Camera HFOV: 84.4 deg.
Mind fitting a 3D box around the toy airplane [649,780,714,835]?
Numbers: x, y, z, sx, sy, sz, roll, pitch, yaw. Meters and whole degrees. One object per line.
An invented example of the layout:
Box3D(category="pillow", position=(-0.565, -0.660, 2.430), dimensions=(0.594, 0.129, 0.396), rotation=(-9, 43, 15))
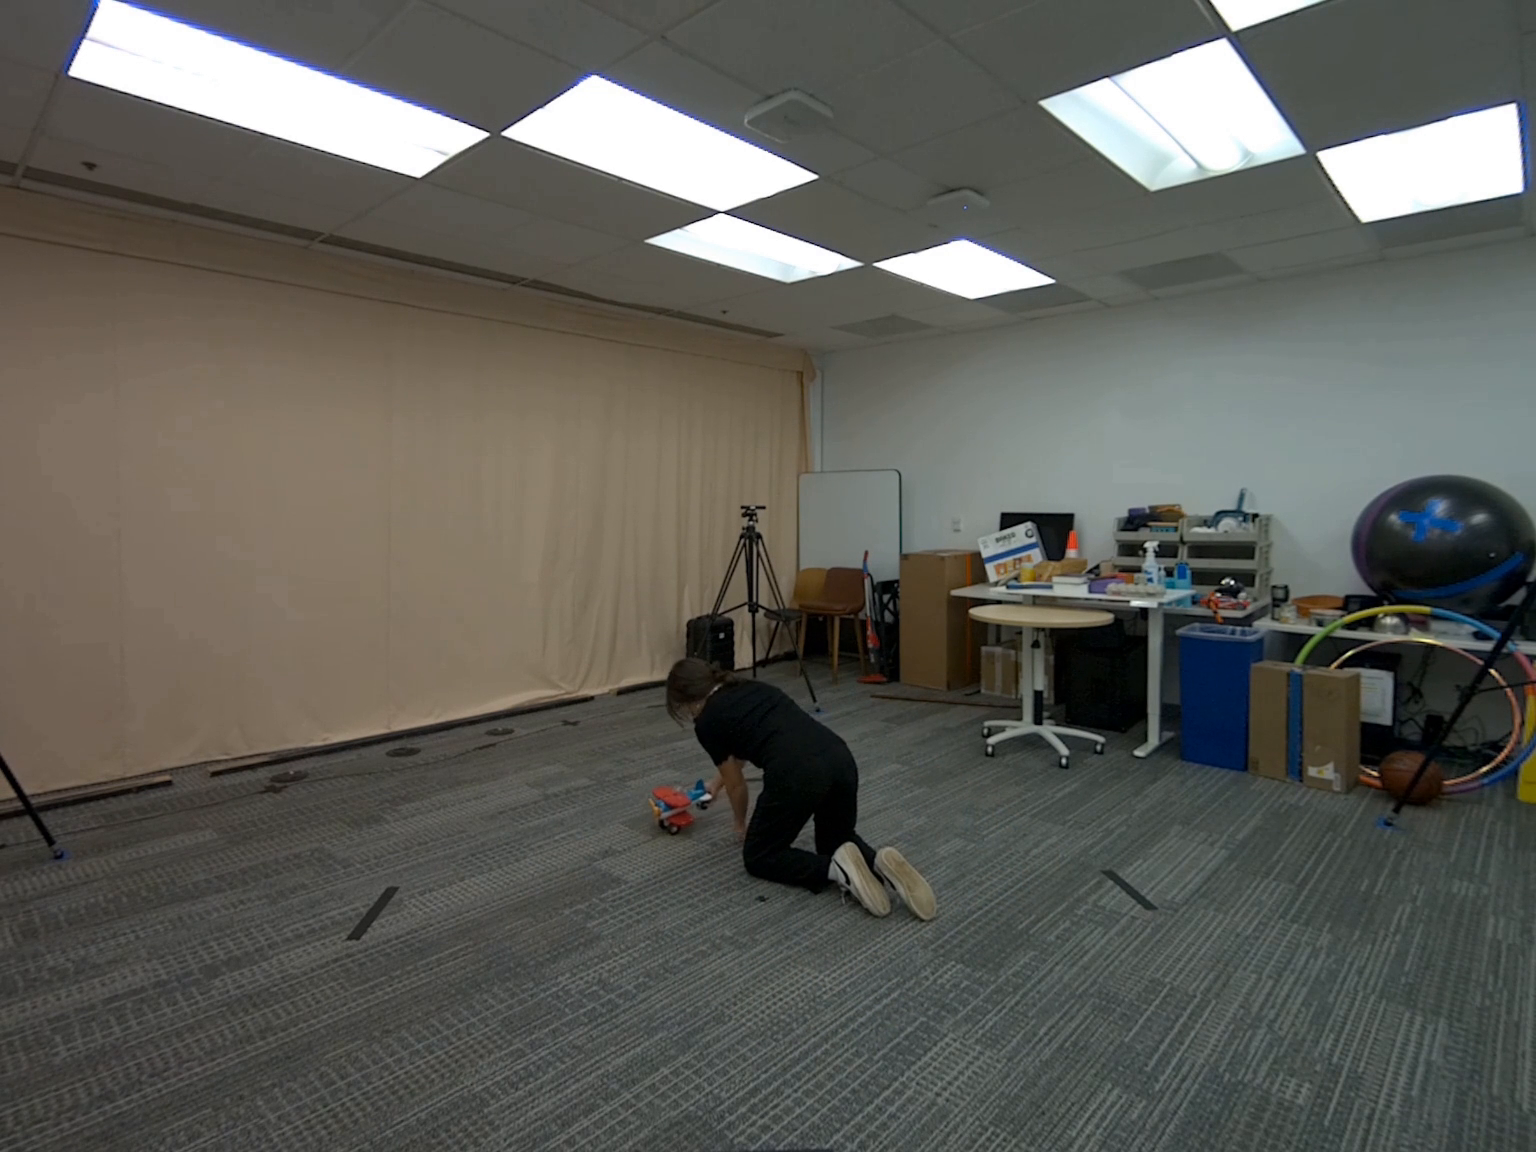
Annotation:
Box3D(category="toy airplane", position=(-0.393, 0.993, 3.653), dimensions=(0.257, 0.154, 0.257), rotation=(-10, 19, 29))
